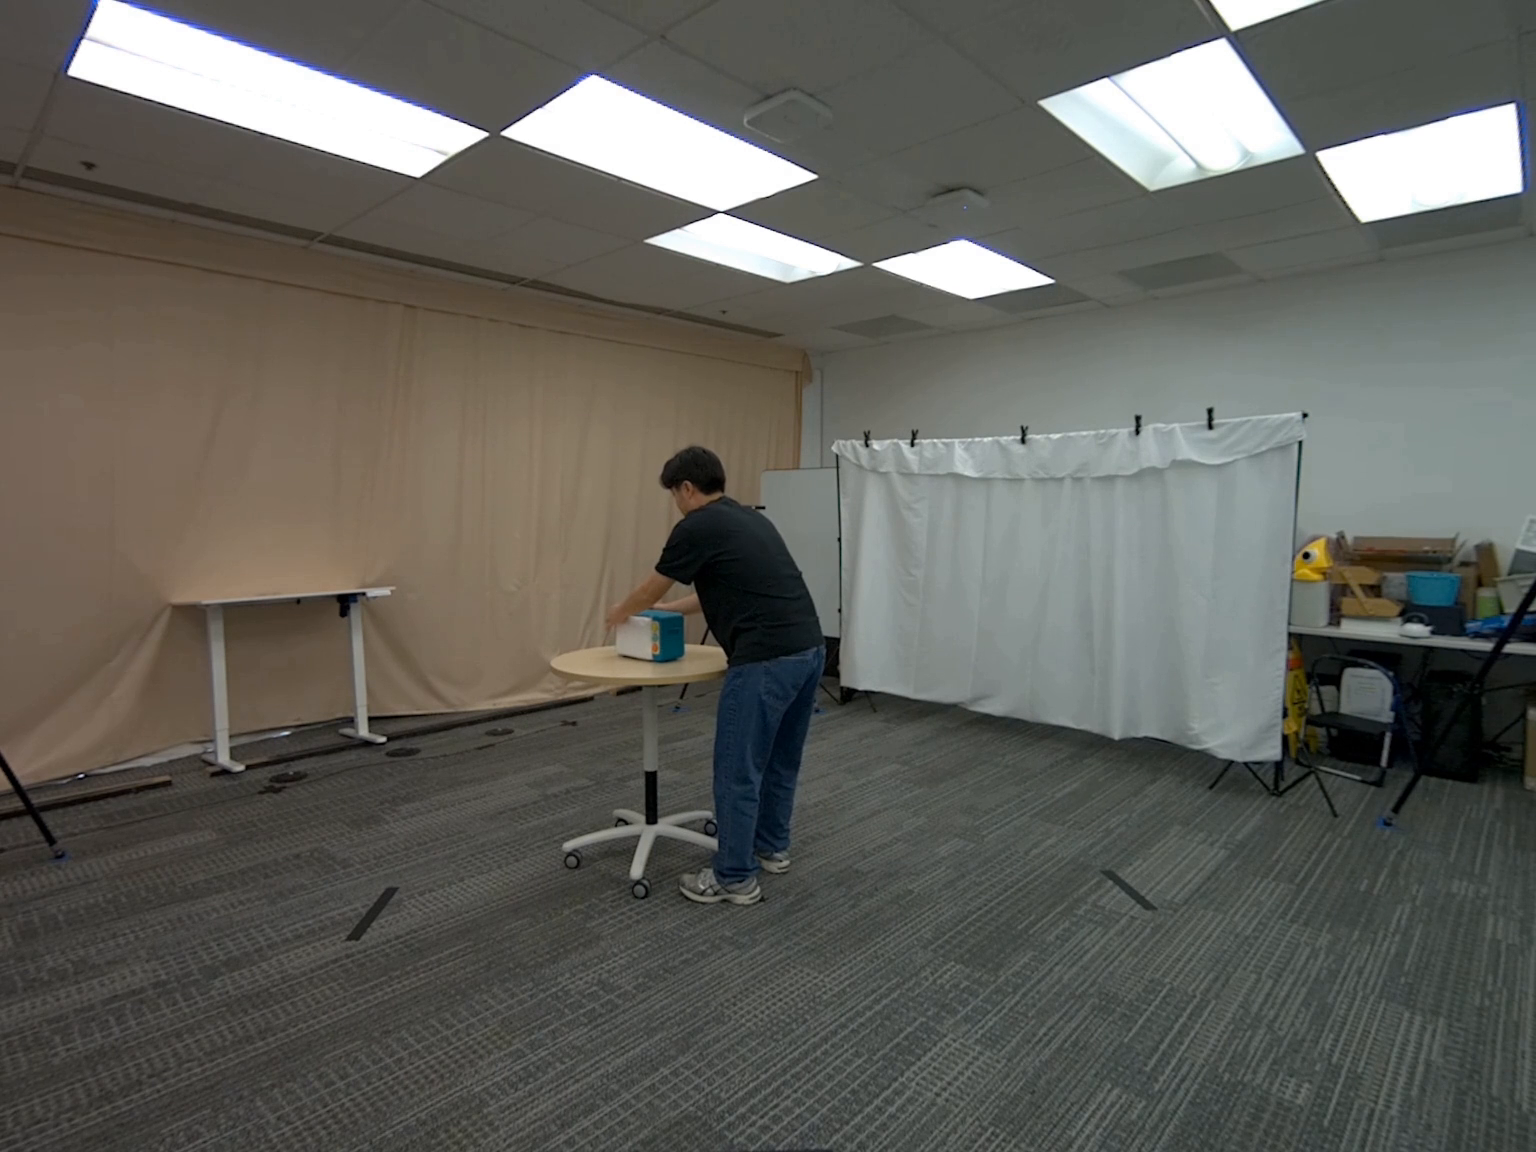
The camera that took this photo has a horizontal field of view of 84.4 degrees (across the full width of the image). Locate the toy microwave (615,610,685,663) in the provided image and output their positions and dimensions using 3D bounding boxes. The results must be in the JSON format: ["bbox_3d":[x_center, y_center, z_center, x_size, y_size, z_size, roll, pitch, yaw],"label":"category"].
[{"bbox_3d":[-0.476,0.233,3.323,0.296,0.184,0.148,4,5,42],"label":"toy microwave"}]
